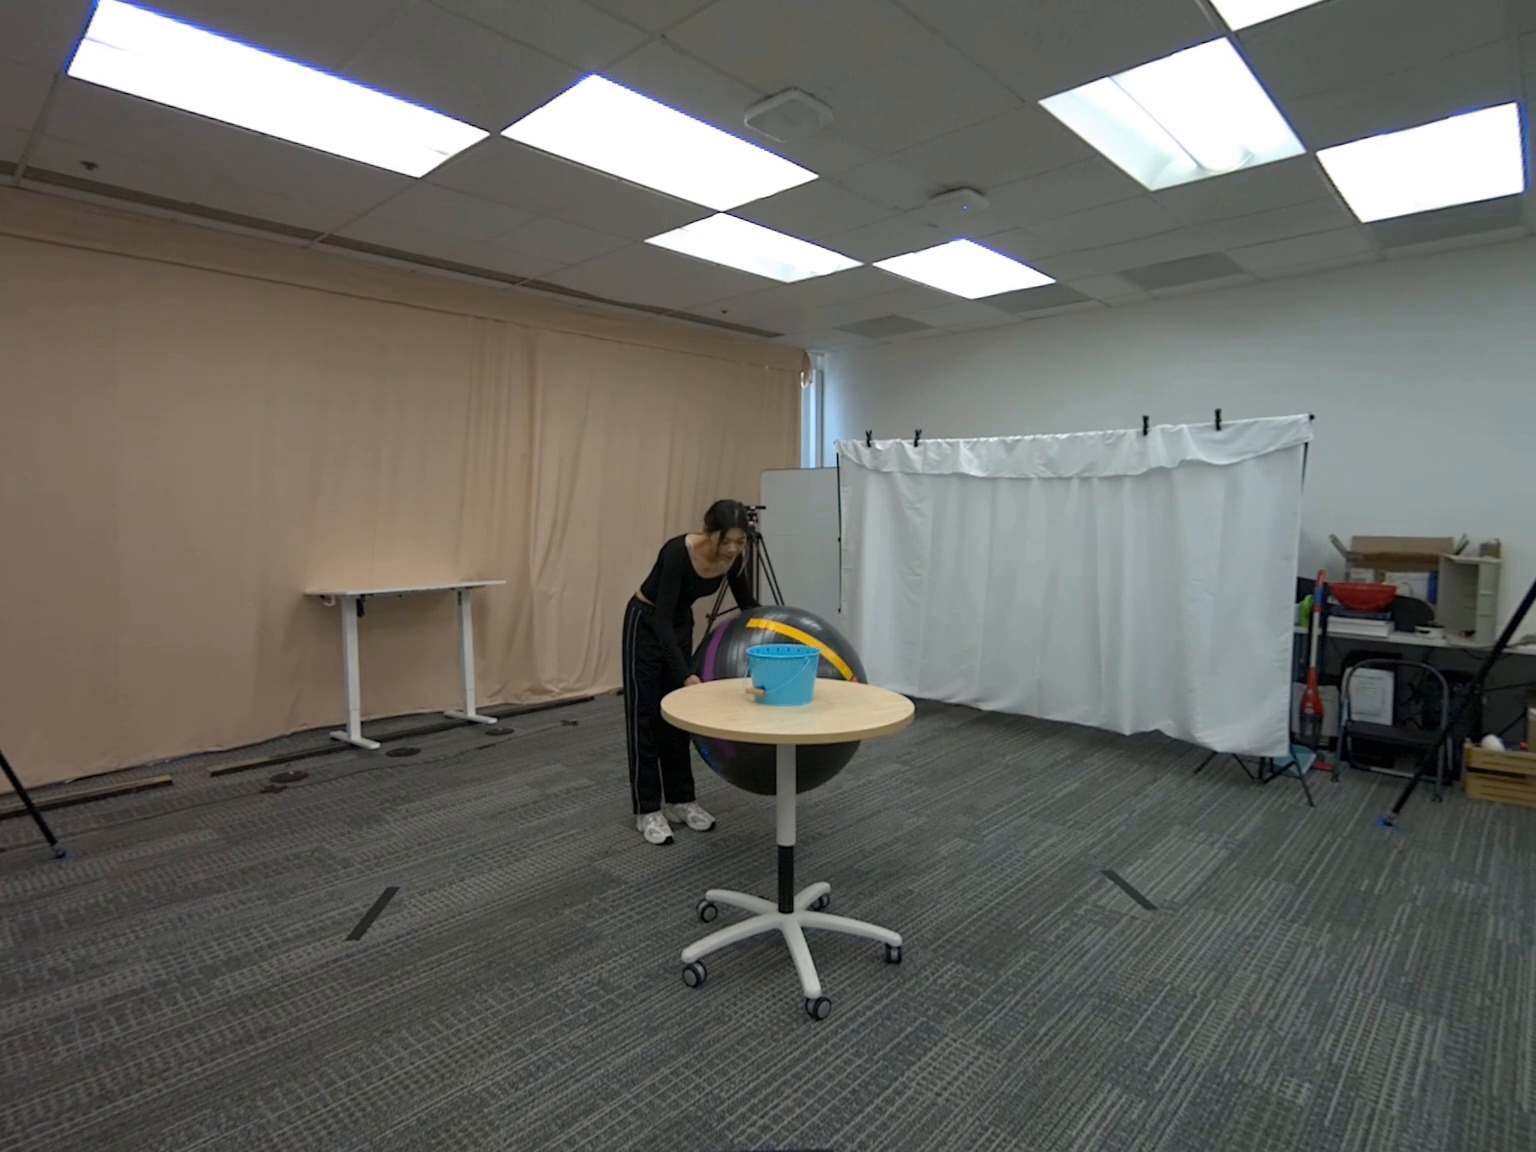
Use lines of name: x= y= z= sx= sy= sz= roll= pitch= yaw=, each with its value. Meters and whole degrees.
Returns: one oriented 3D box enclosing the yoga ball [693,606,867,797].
yoga ball: x=0.037 y=0.507 z=3.433 sx=0.757 sy=0.756 sz=0.760 roll=0 pitch=4 yaw=-2
